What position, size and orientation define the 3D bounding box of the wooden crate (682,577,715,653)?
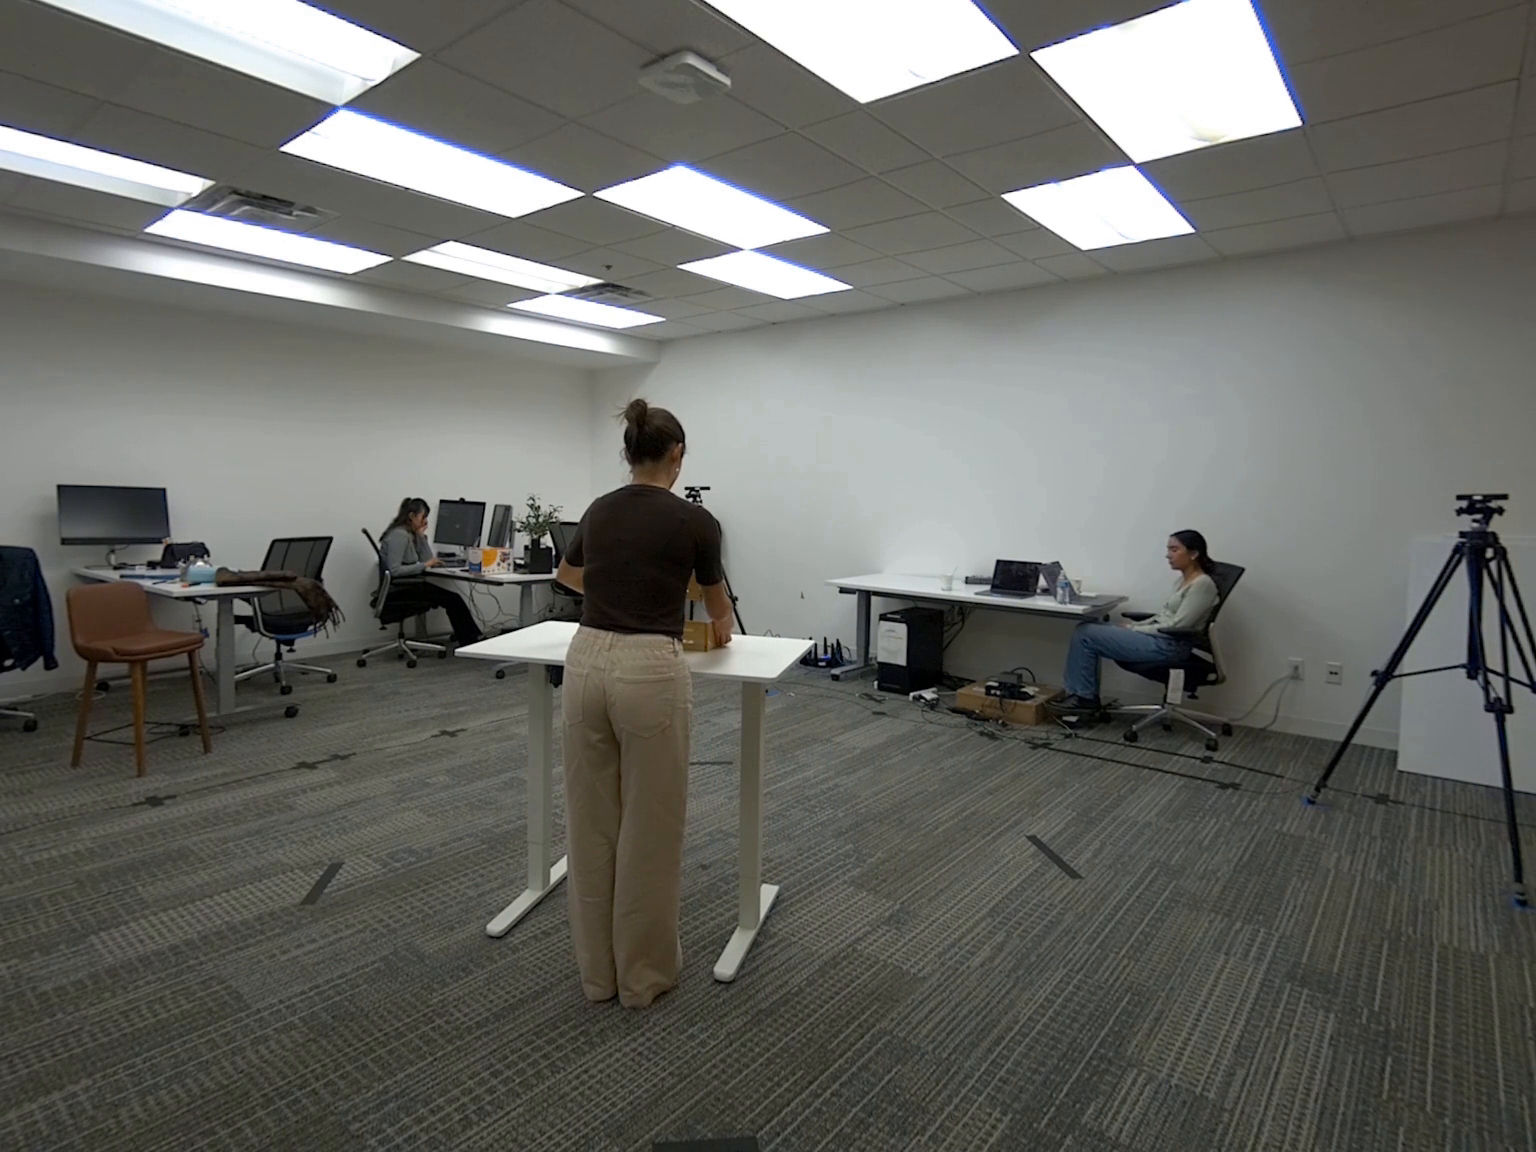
[{"bbox_3d":[-0.317,0.086,2.755,0.331,0.272,0.298,2,6,17],"label":"wooden crate"}]
